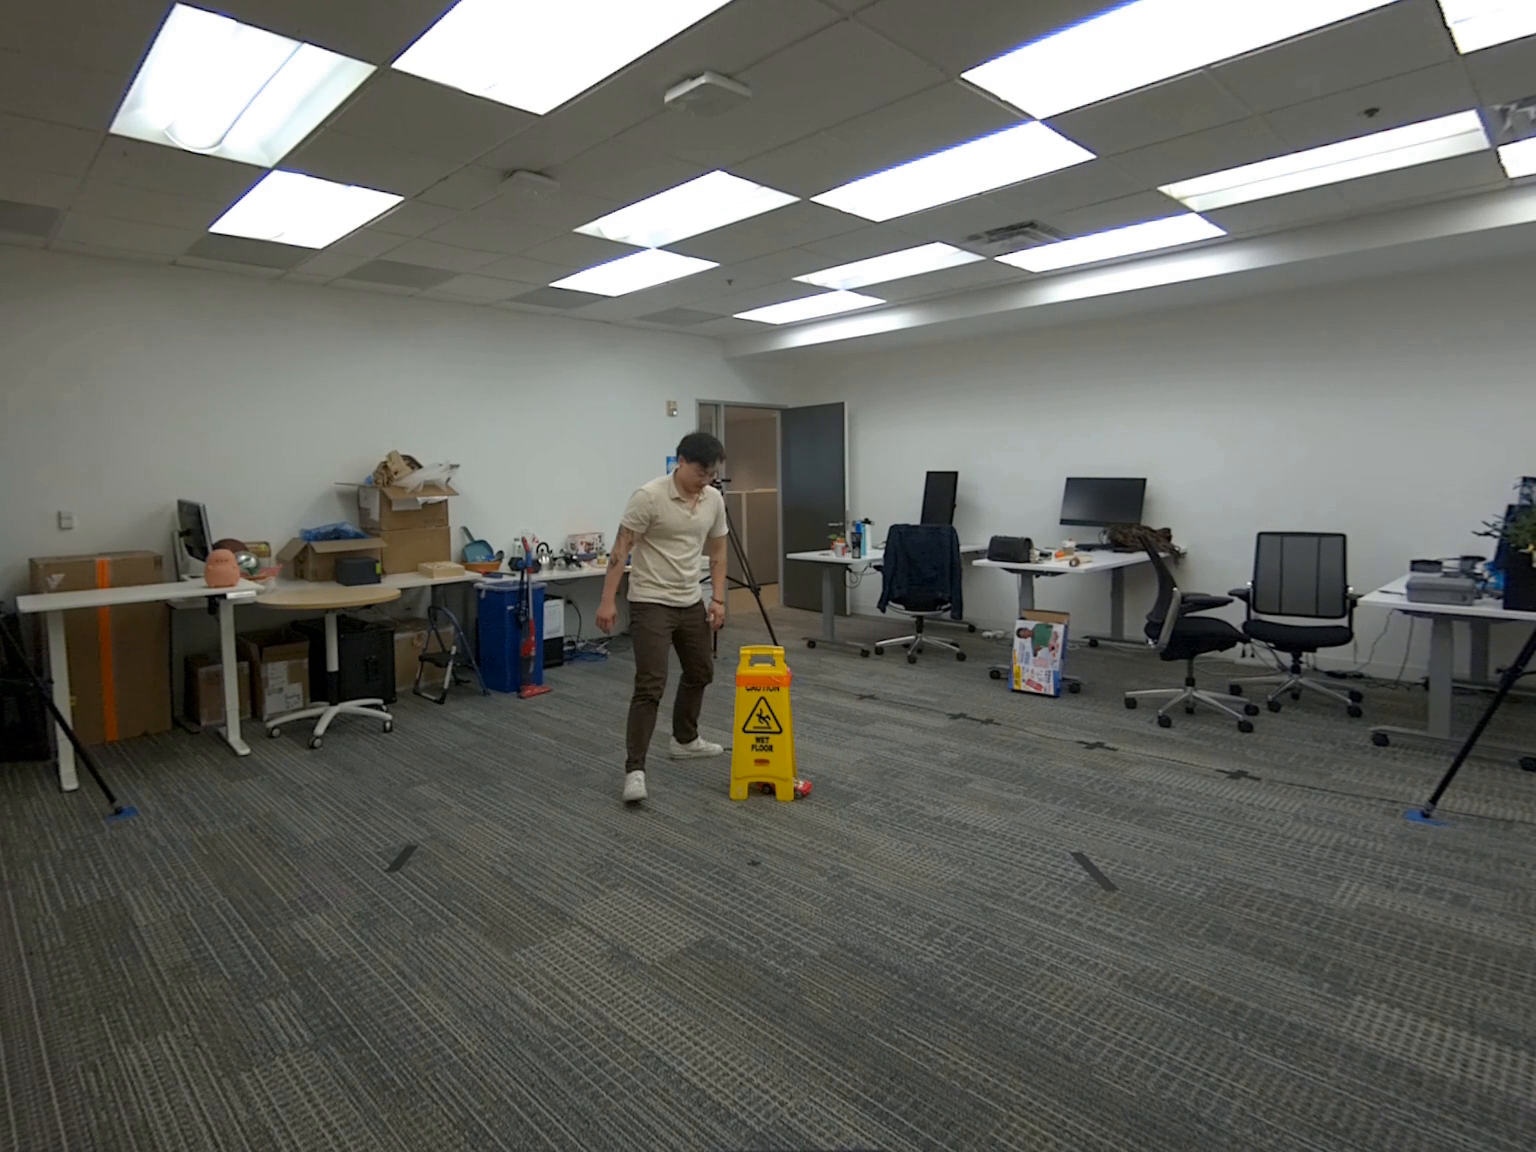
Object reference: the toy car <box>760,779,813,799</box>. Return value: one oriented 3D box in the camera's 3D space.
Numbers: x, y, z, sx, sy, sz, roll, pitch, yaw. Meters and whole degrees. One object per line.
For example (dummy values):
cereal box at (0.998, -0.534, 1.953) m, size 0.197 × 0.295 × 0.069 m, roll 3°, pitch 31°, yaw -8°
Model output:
toy car at (0.063, 0.939, 3.819) m, size 0.261 × 0.082 × 0.128 m, roll 14°, pitch 11°, yaw 22°
